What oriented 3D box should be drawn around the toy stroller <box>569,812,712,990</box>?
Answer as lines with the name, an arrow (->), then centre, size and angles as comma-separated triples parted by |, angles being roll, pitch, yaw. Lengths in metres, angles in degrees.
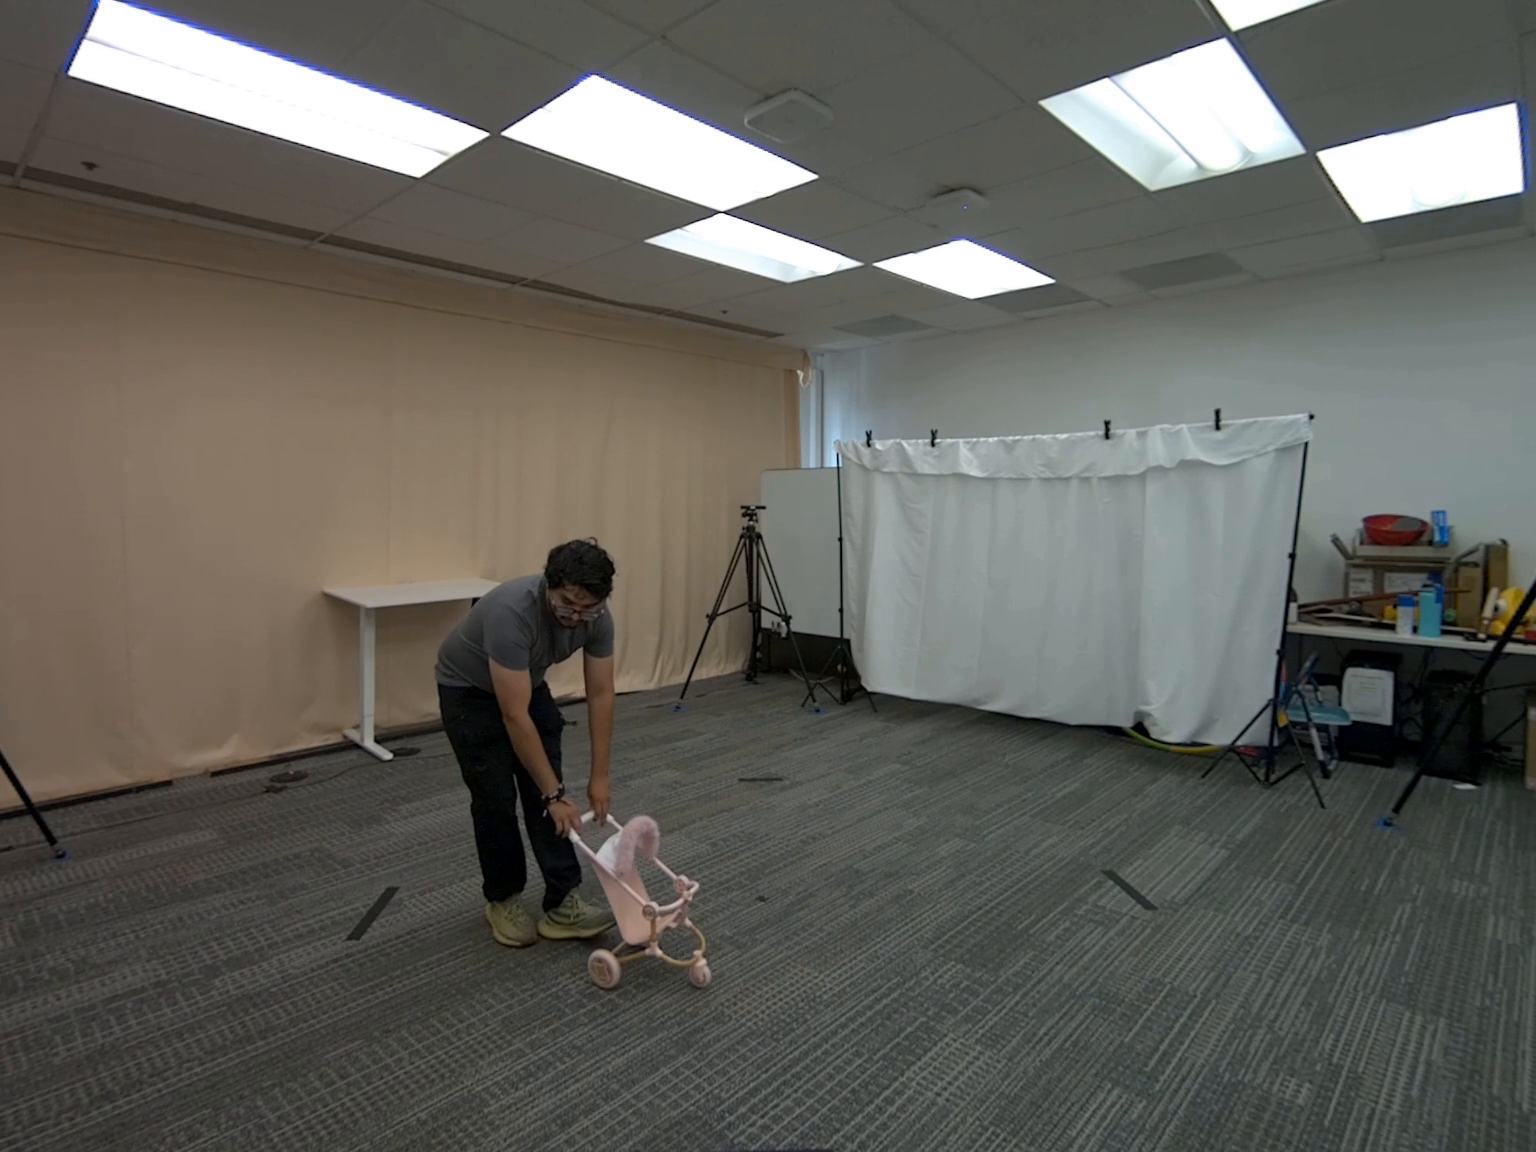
toy stroller -> -0.367, 0.962, 2.505 | 0.349, 0.537, 0.274 | -16, -5, 28
